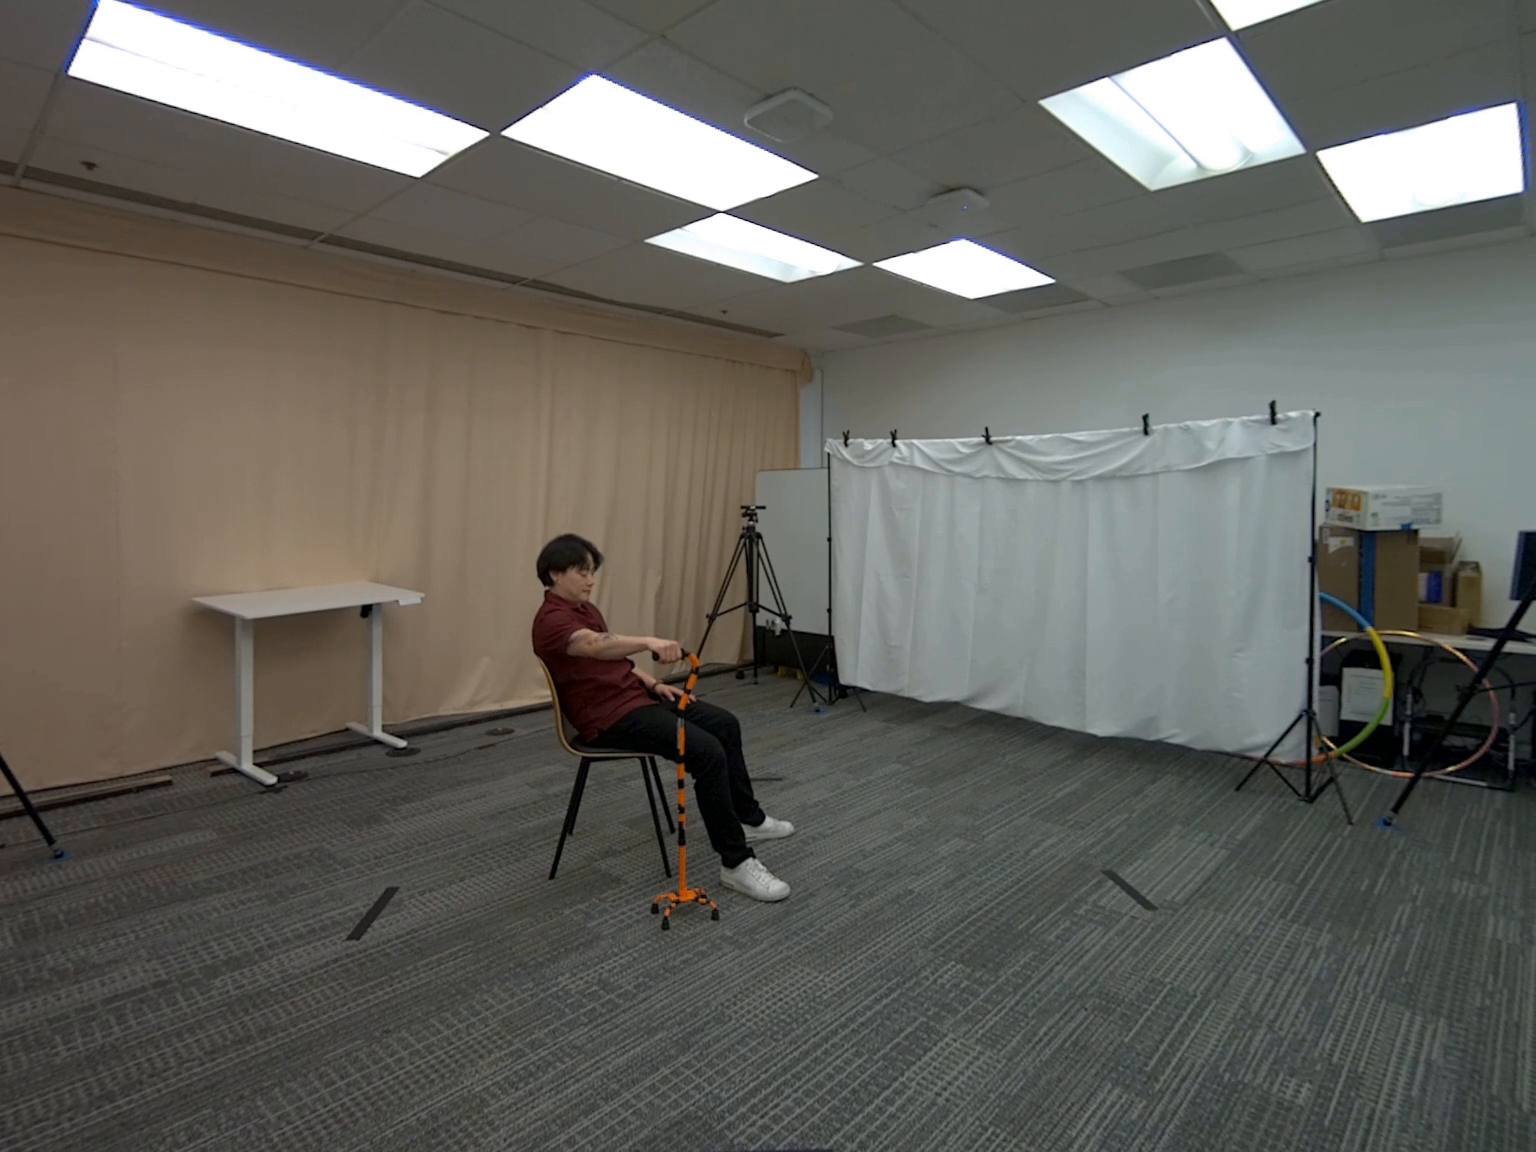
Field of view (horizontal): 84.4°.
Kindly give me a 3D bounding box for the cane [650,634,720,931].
[{"bbox_3d":[-0.287,0.694,2.843,0.201,0.906,0.155,-1,3,-27],"label":"cane"}]
